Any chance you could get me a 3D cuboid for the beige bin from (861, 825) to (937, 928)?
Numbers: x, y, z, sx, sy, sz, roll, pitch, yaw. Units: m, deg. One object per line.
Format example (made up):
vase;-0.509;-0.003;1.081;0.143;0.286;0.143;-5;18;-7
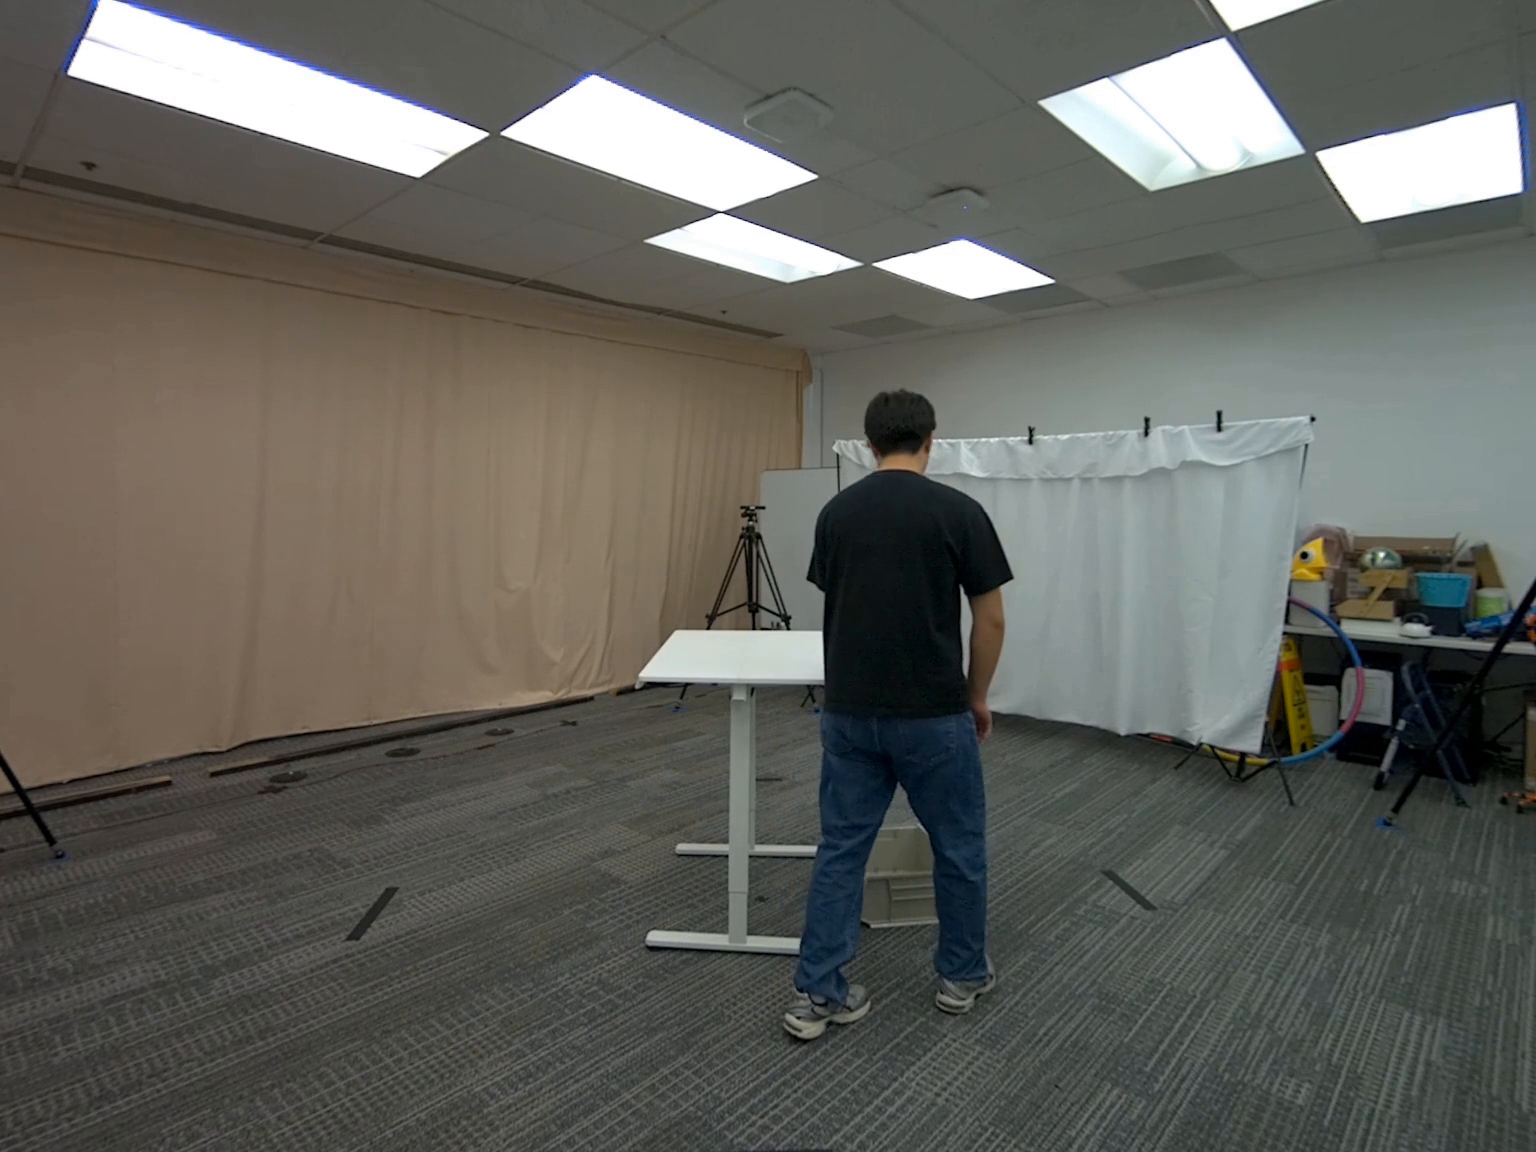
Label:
beige bin;0.440;1.059;2.990;0.374;0.188;0.427;0;3;-10
